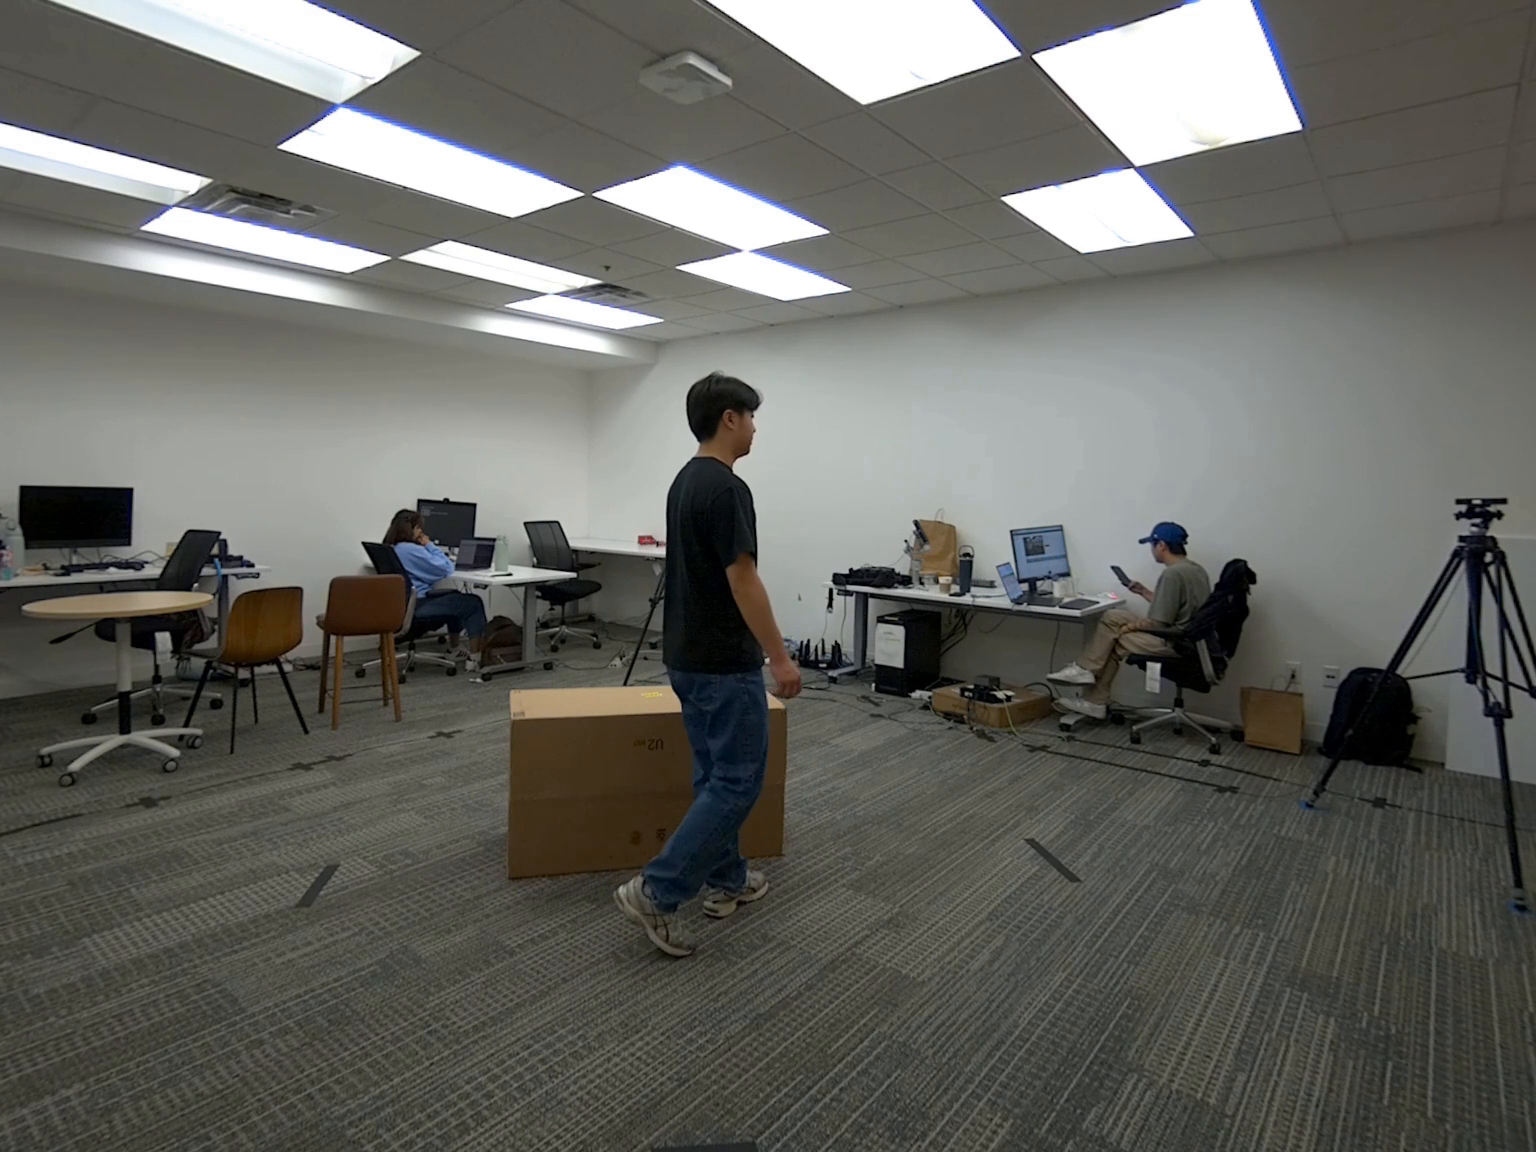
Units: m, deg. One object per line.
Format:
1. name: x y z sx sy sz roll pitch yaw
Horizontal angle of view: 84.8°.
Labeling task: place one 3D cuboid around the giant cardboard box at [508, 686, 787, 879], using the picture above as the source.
1. giant cardboard box: -0.494 0.757 3.305 1.011 0.583 0.455 0 3 -15
